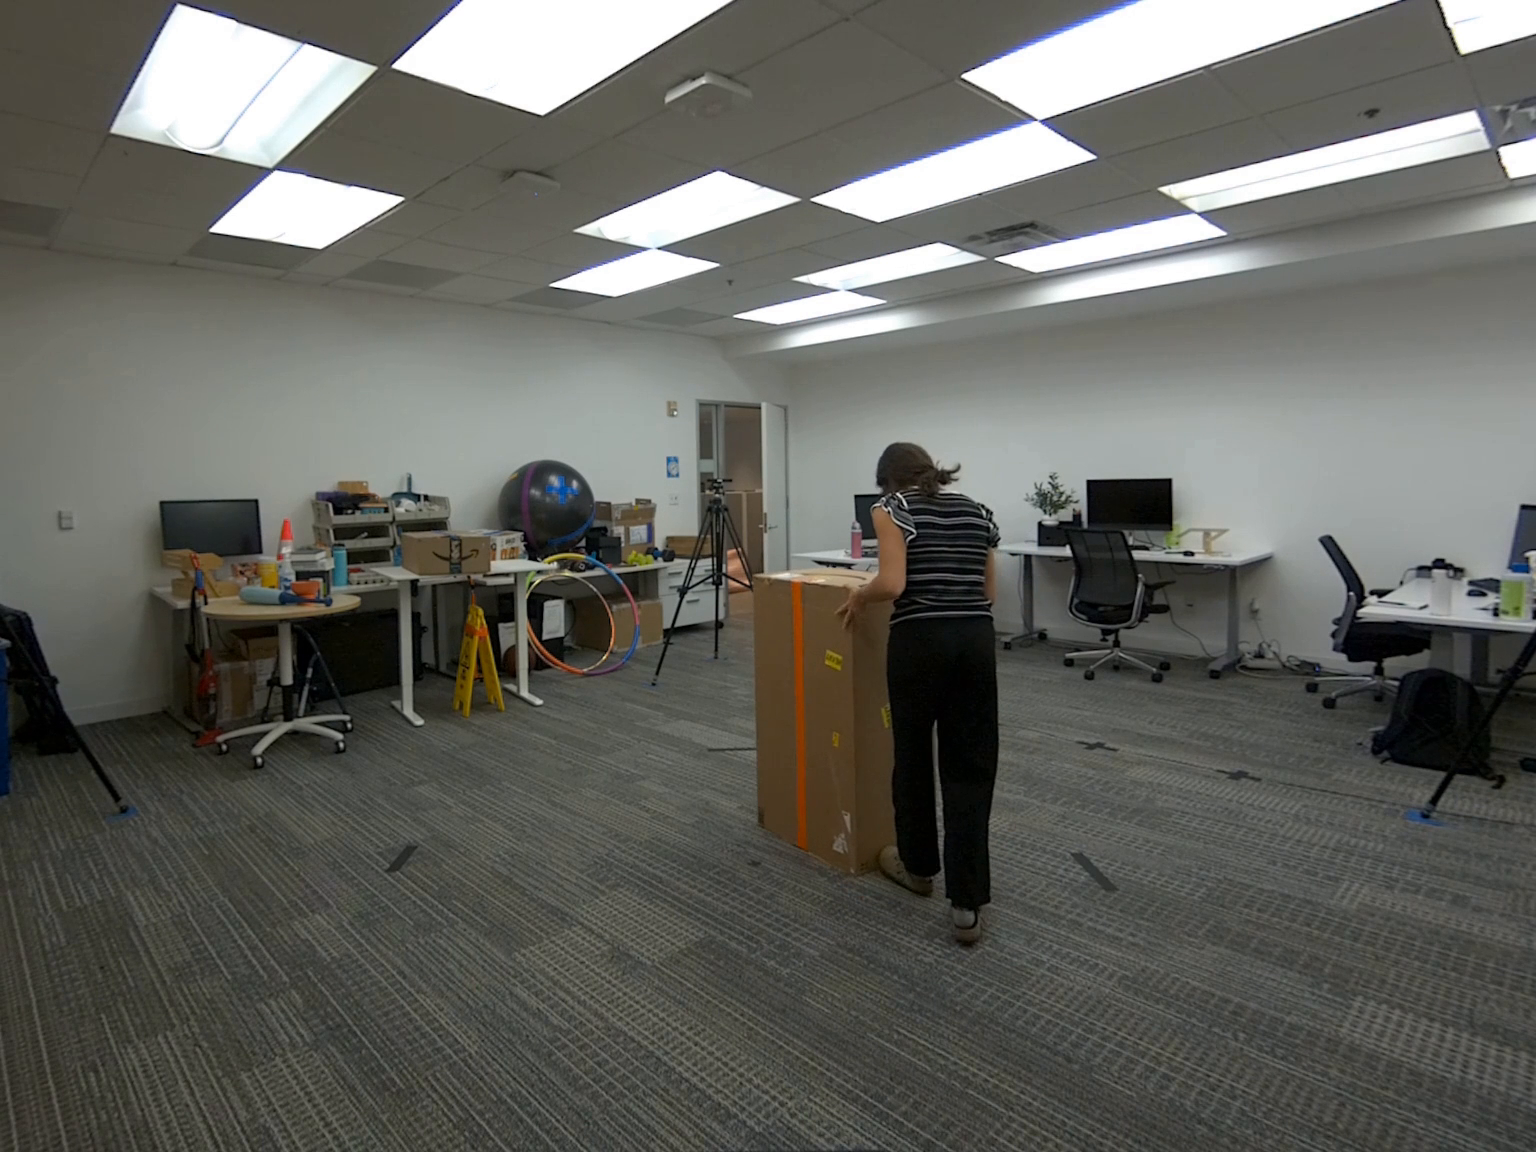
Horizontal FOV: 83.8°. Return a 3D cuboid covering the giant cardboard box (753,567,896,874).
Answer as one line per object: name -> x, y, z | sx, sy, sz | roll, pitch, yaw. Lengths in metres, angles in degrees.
giant cardboard box -> 0.280, 0.509, 3.316 | 0.415, 1.022, 0.594 | -4, 5, -36
